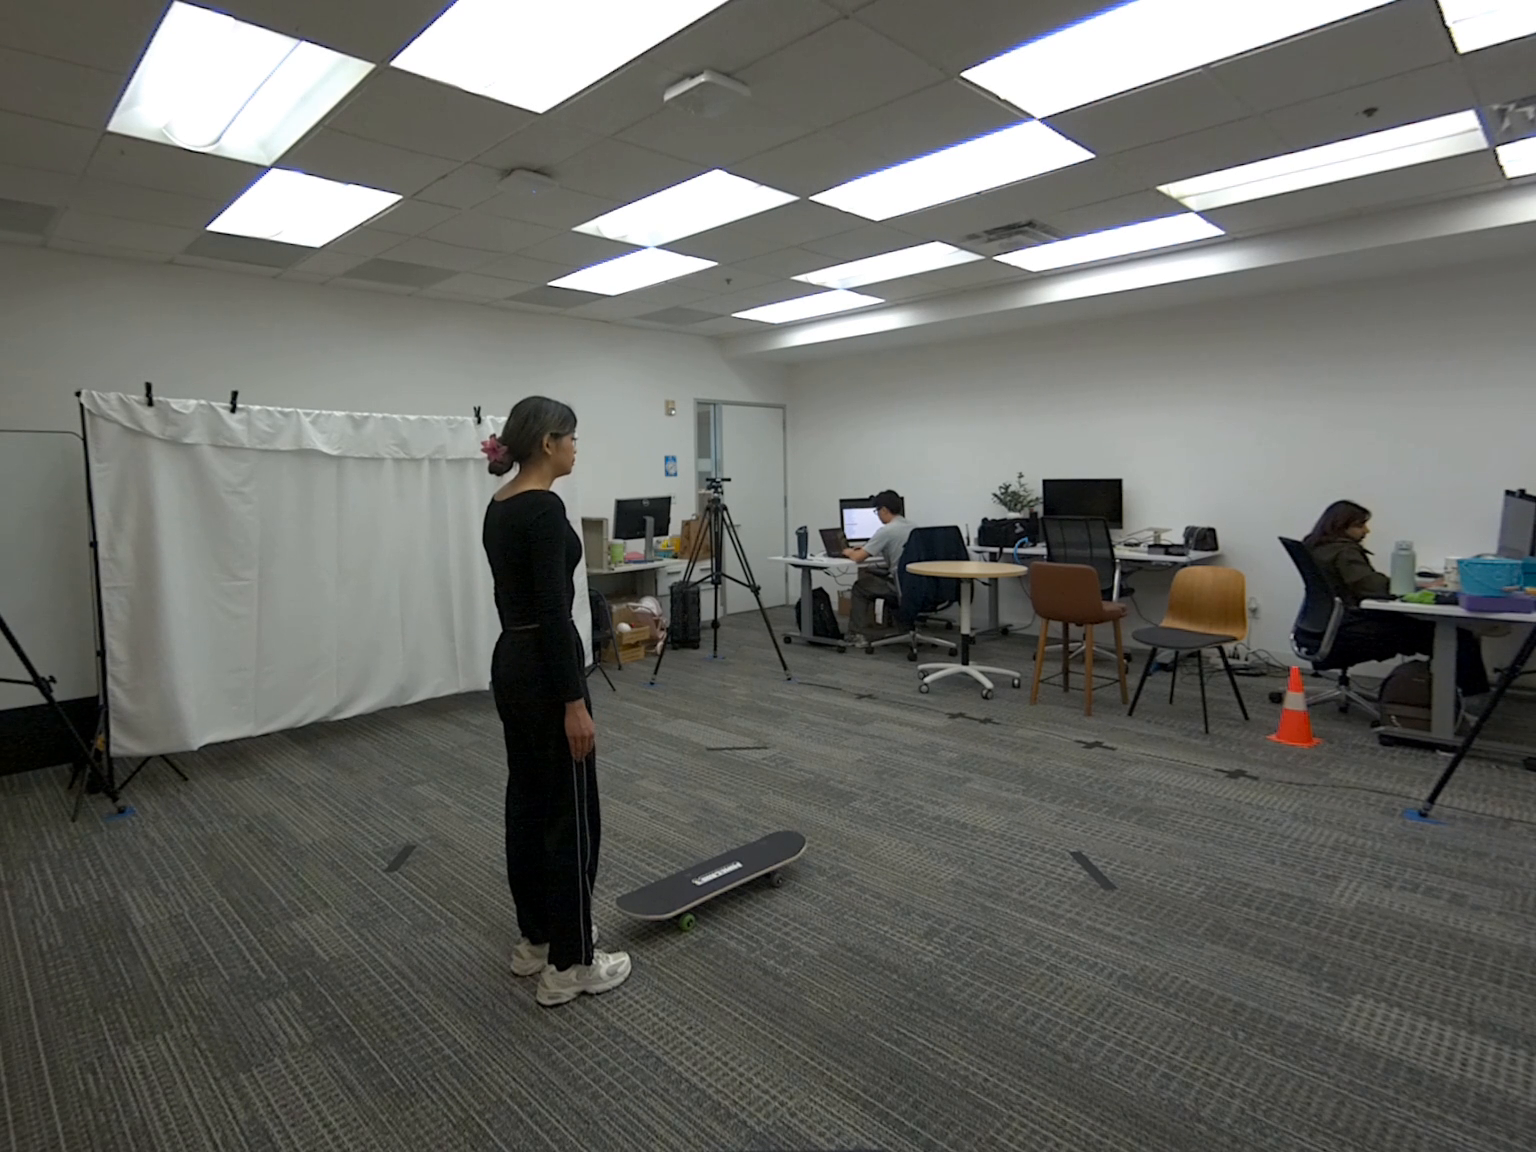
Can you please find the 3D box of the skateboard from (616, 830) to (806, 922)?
[{"bbox_3d":[-0.166,1.021,2.838,0.765,0.110,0.199,-7,8,-44],"label":"skateboard"}]
